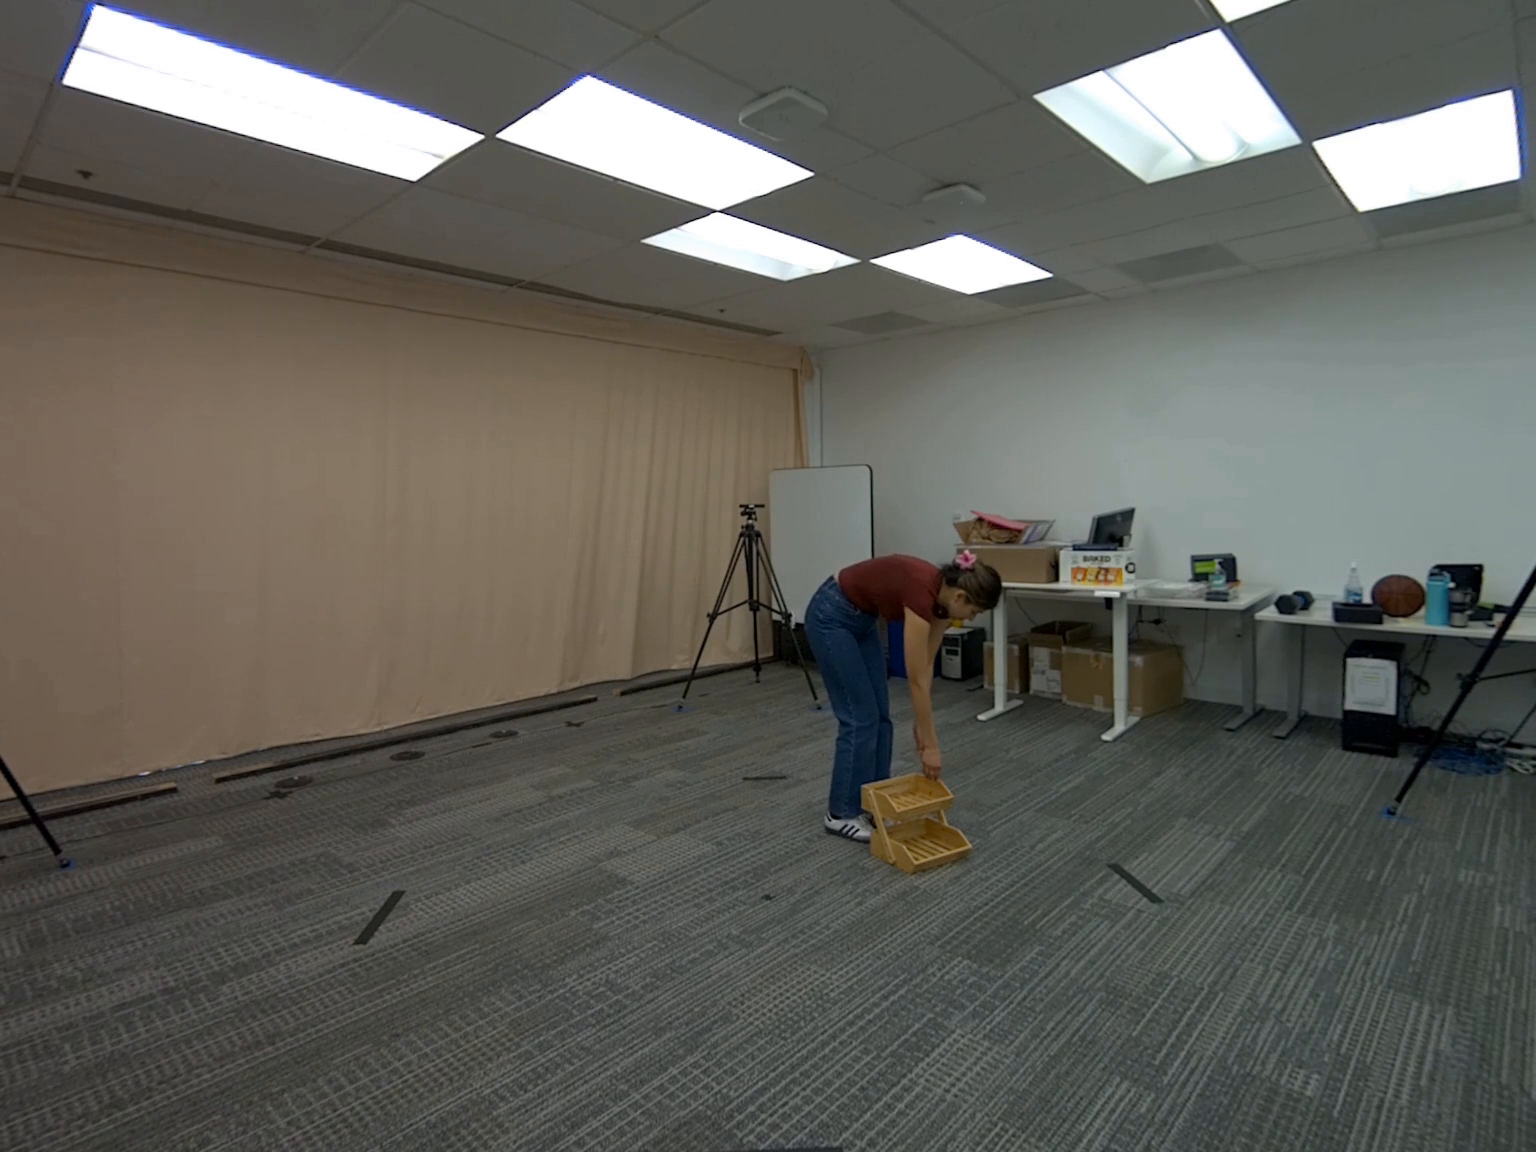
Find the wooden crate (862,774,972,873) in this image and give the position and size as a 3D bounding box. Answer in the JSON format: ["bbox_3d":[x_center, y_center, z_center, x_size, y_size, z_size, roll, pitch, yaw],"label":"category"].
[{"bbox_3d":[0.590,0.962,3.324,0.315,0.273,0.311,-3,4,-32],"label":"wooden crate"}]
